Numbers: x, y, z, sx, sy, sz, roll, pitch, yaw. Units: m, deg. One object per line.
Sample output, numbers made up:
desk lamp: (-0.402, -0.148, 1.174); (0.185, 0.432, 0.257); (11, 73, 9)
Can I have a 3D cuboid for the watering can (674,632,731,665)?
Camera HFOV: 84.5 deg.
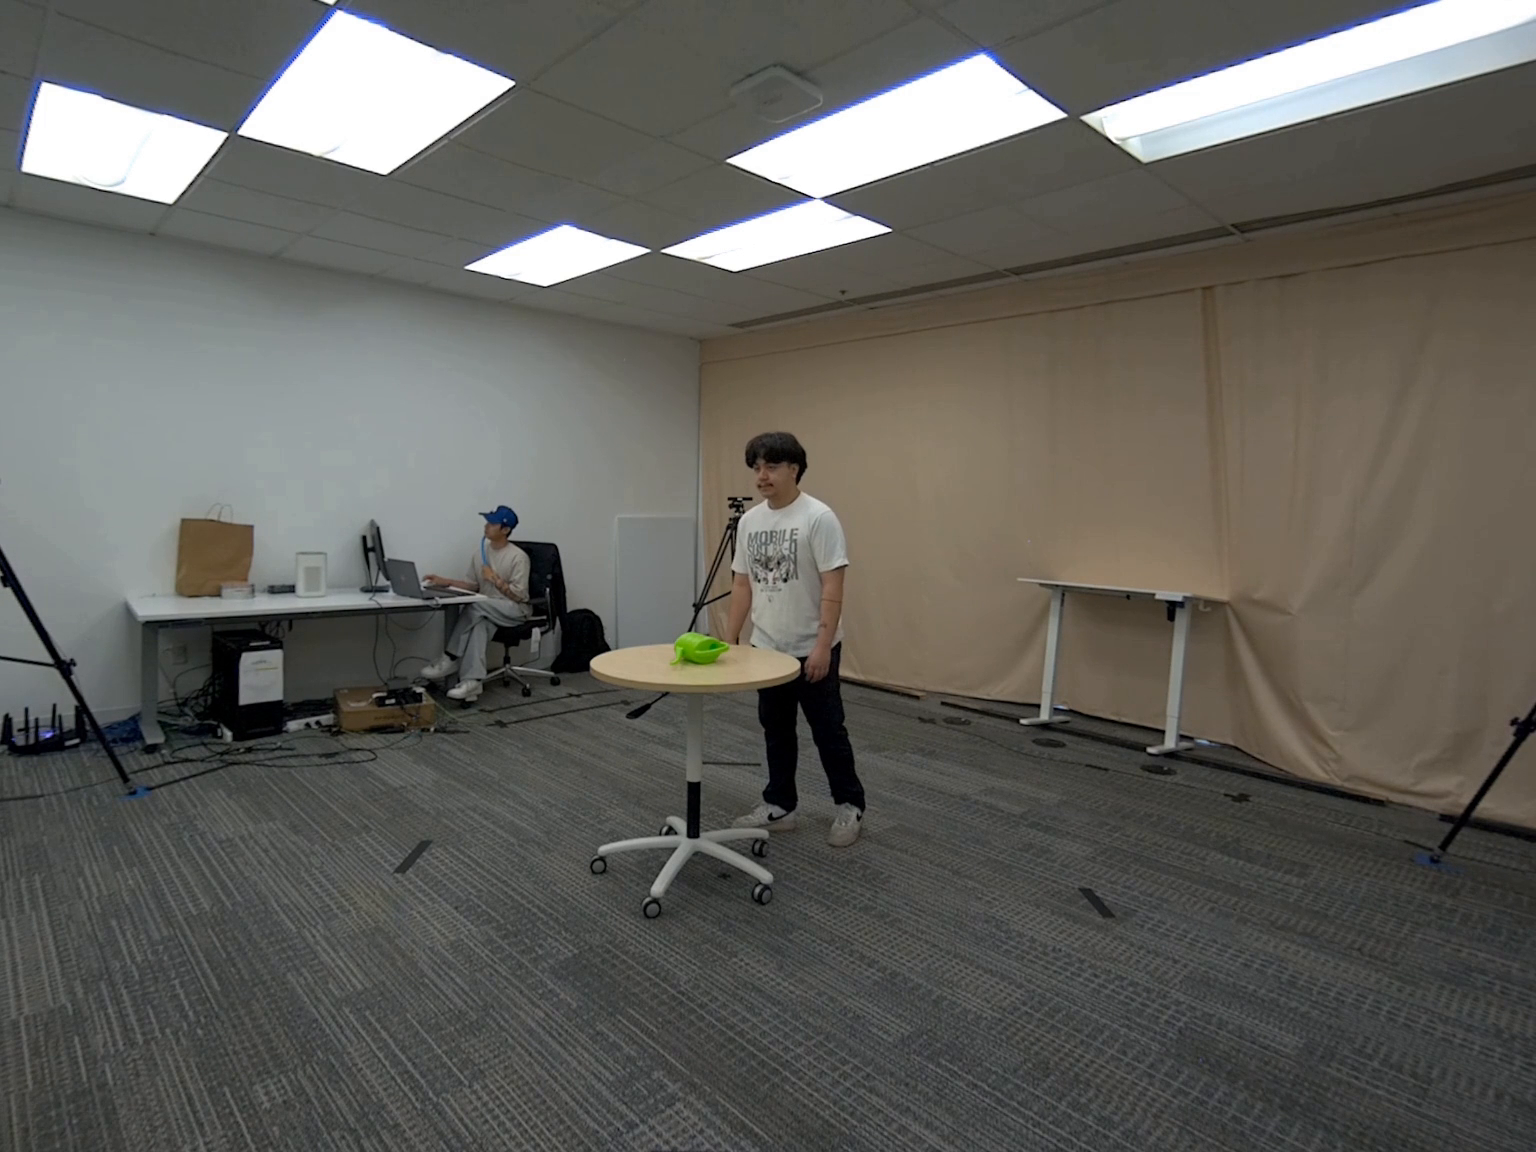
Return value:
watering can: (-0.283, 0.265, 3.045); (0.271, 0.098, 0.181); (4, 1, -39)
